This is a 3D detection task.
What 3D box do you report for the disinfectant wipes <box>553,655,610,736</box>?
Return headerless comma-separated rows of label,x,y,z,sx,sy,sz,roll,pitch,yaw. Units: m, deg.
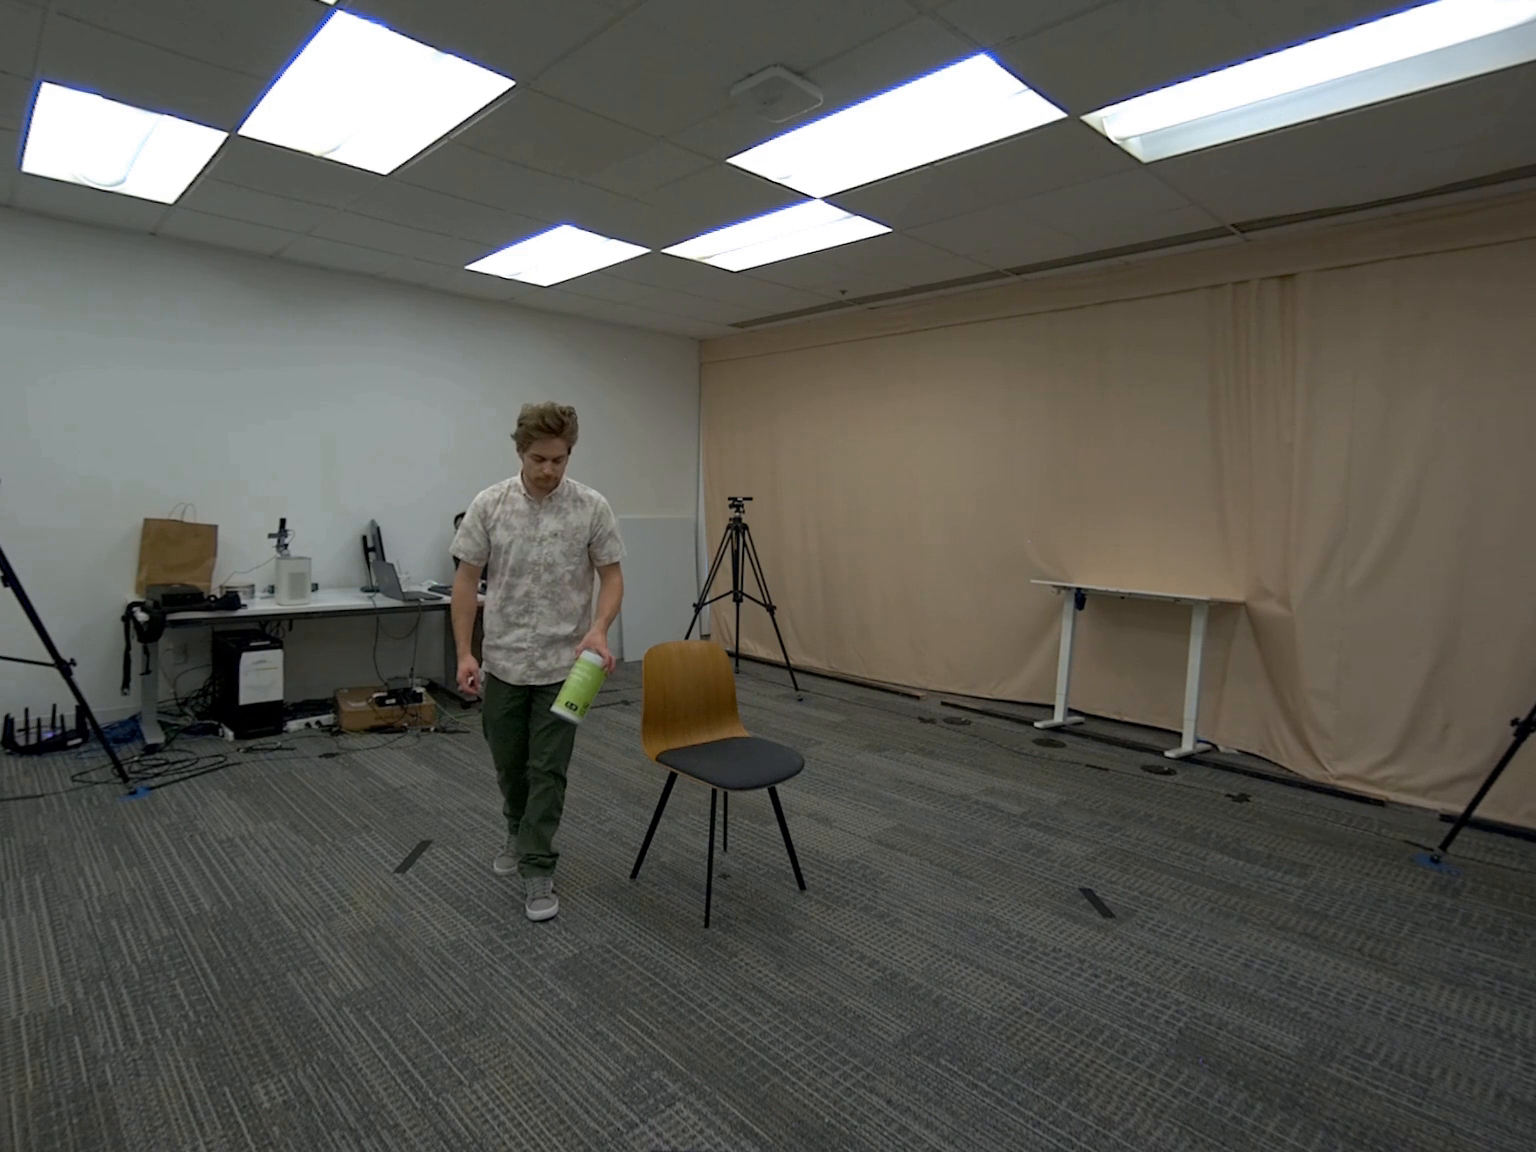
disinfectant wipes,-0.602,0.364,2.646,0.118,0.219,0.116,21,-18,6
